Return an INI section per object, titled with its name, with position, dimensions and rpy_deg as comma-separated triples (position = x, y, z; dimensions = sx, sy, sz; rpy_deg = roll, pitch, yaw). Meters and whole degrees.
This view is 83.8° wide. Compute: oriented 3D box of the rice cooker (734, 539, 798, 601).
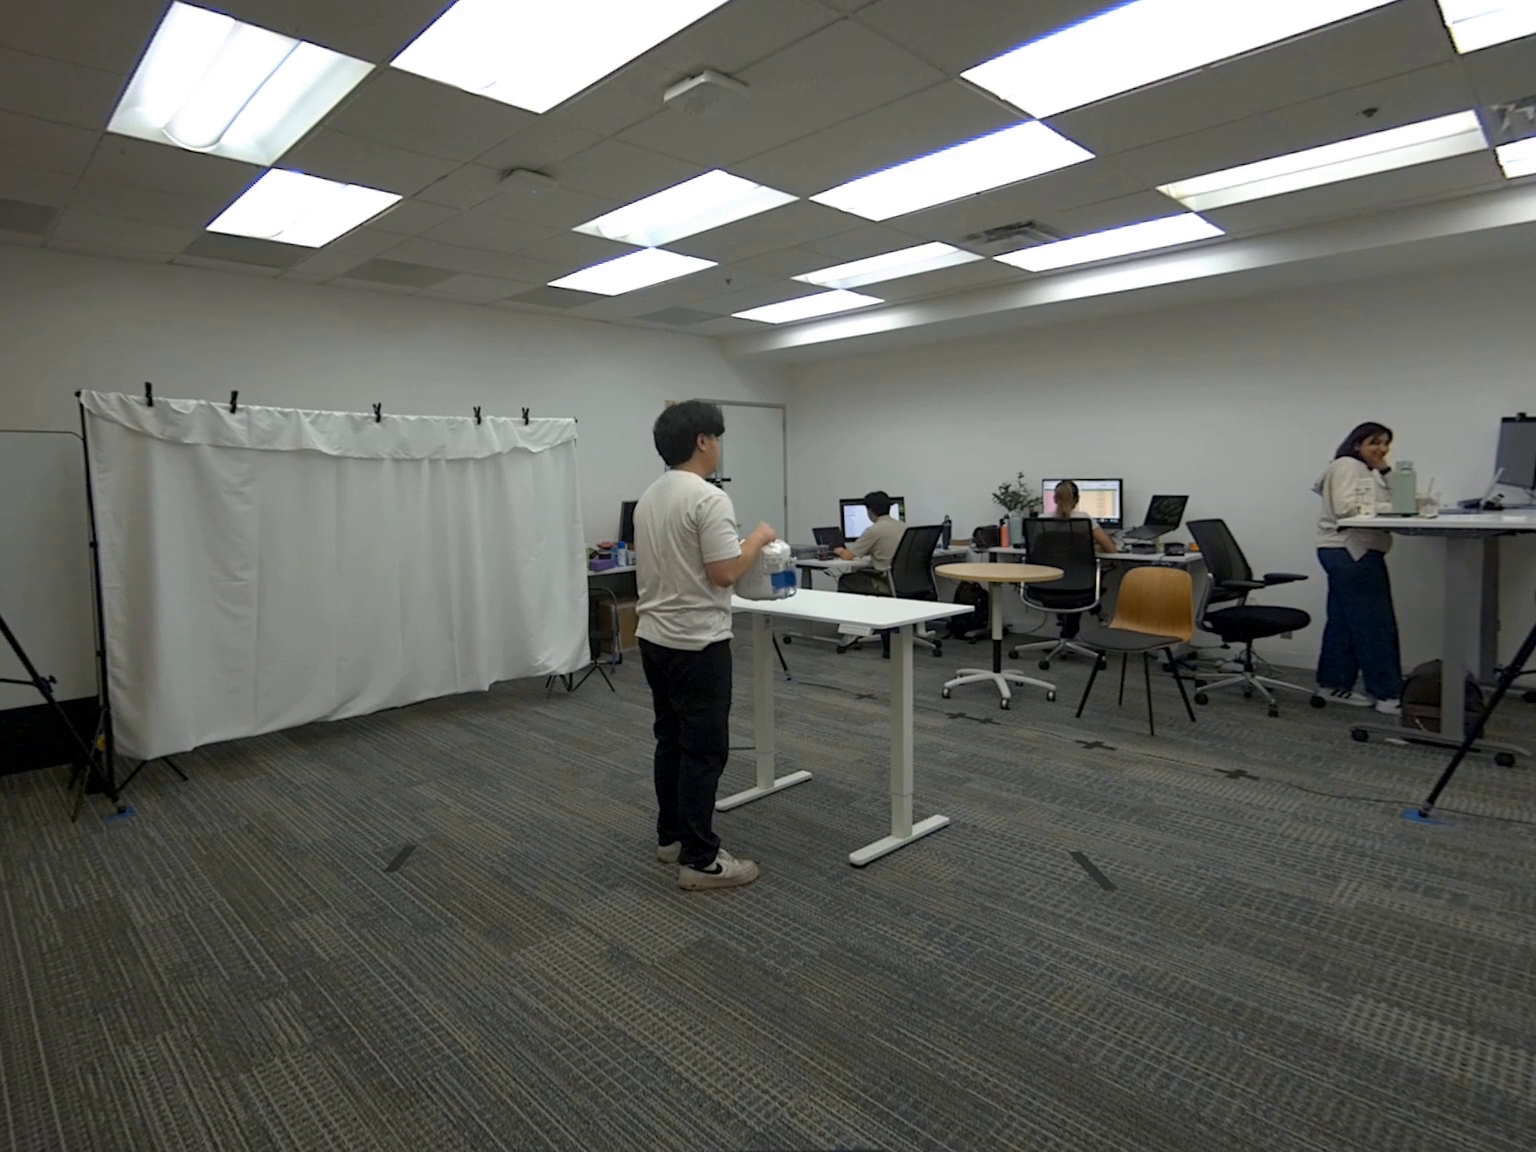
[rice cooker]
position = -0.022, -0.036, 3.125
dimensions = 0.214, 0.231, 0.226
rpy_deg = -2, 8, -19
